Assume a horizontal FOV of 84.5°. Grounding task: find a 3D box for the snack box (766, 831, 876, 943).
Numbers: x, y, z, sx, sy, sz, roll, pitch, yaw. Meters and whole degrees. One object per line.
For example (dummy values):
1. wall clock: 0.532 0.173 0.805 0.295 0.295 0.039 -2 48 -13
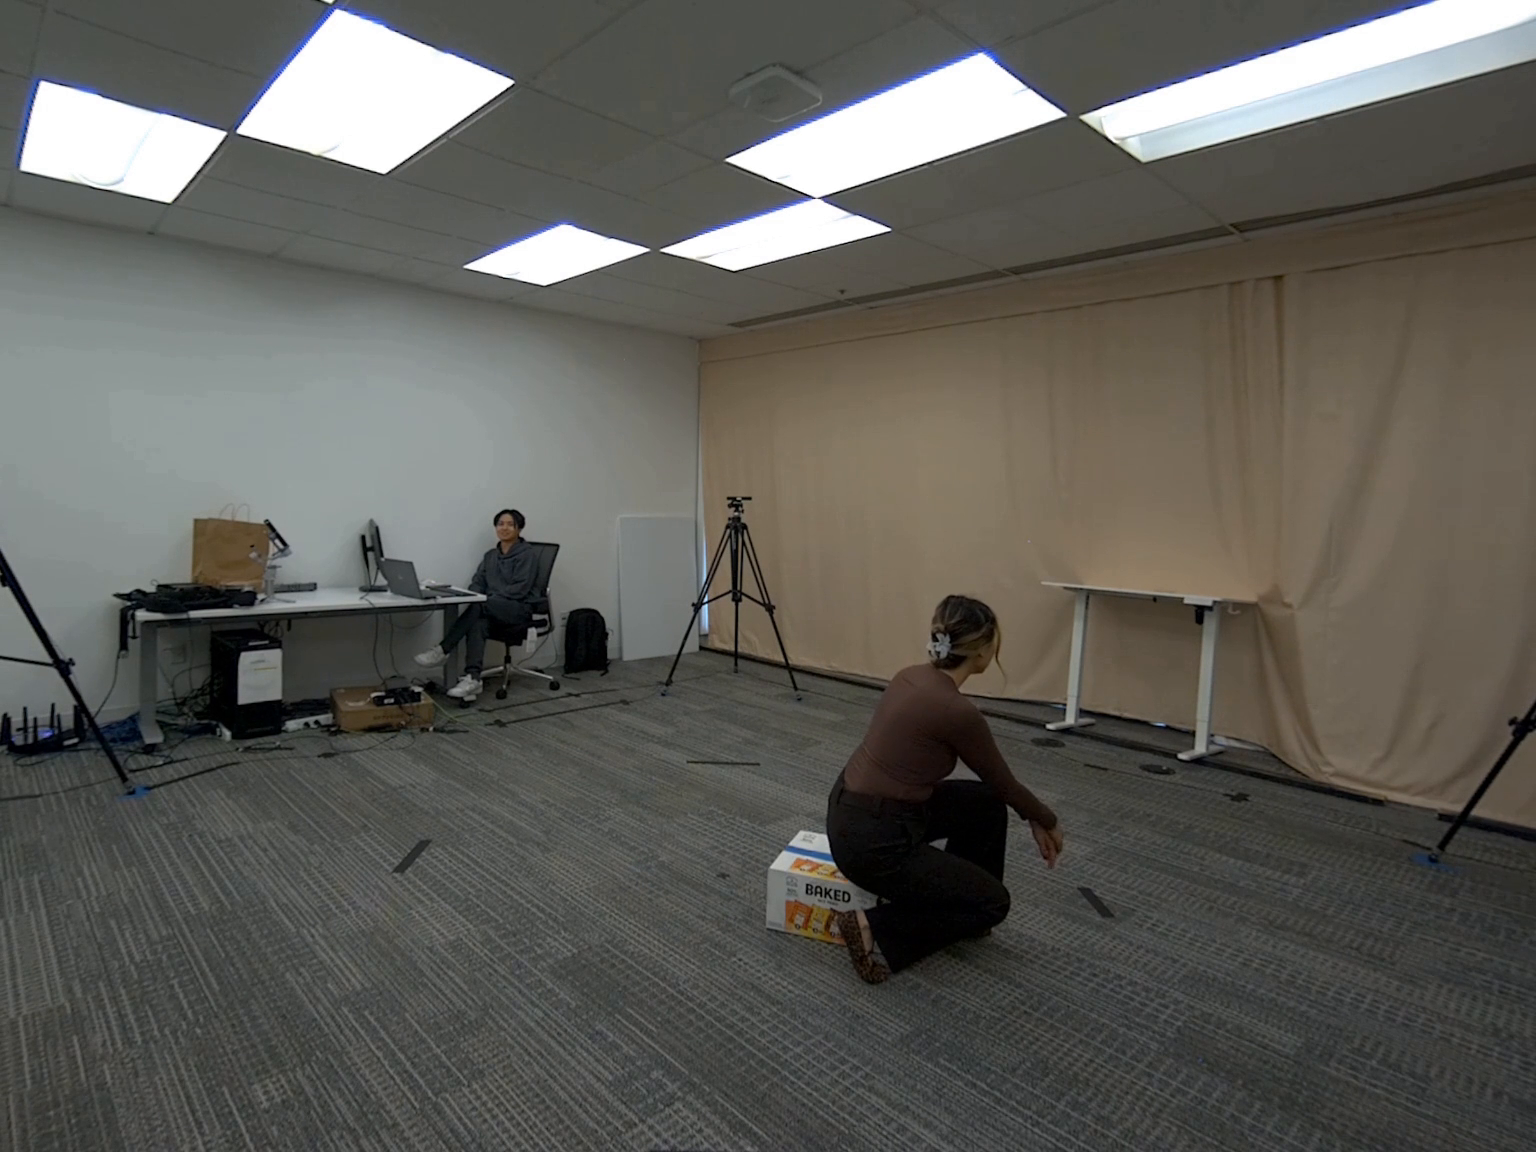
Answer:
1. snack box: 0.241 1.040 2.798 0.412 0.205 0.336 3 5 21
